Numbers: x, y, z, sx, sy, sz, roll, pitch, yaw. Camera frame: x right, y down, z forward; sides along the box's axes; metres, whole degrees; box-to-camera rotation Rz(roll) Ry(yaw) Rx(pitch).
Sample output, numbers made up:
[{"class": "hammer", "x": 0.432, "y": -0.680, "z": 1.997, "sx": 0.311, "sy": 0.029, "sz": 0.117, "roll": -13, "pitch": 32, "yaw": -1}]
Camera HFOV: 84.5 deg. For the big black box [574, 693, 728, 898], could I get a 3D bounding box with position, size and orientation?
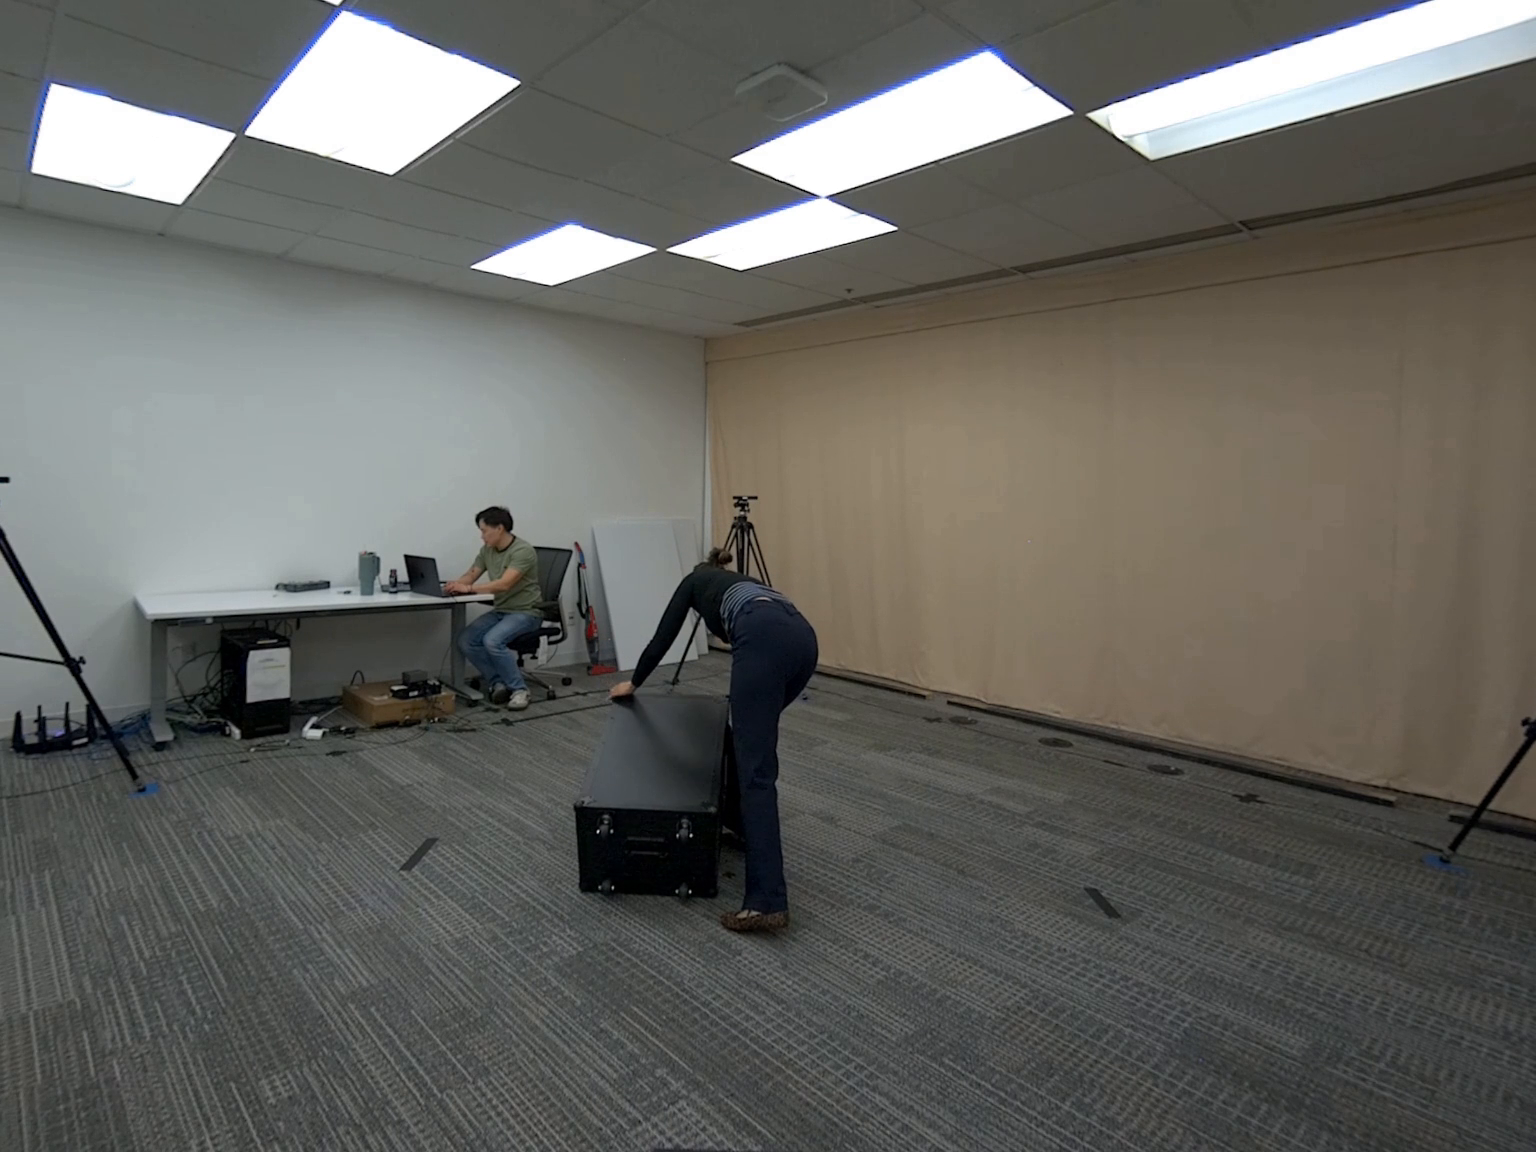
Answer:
[{"class": "big black box", "x": -0.418, "y": 0.817, "z": 3.202, "sx": 0.521, "sy": 0.391, "sz": 0.872, "roll": 1, "pitch": 19, "yaw": 0}]
